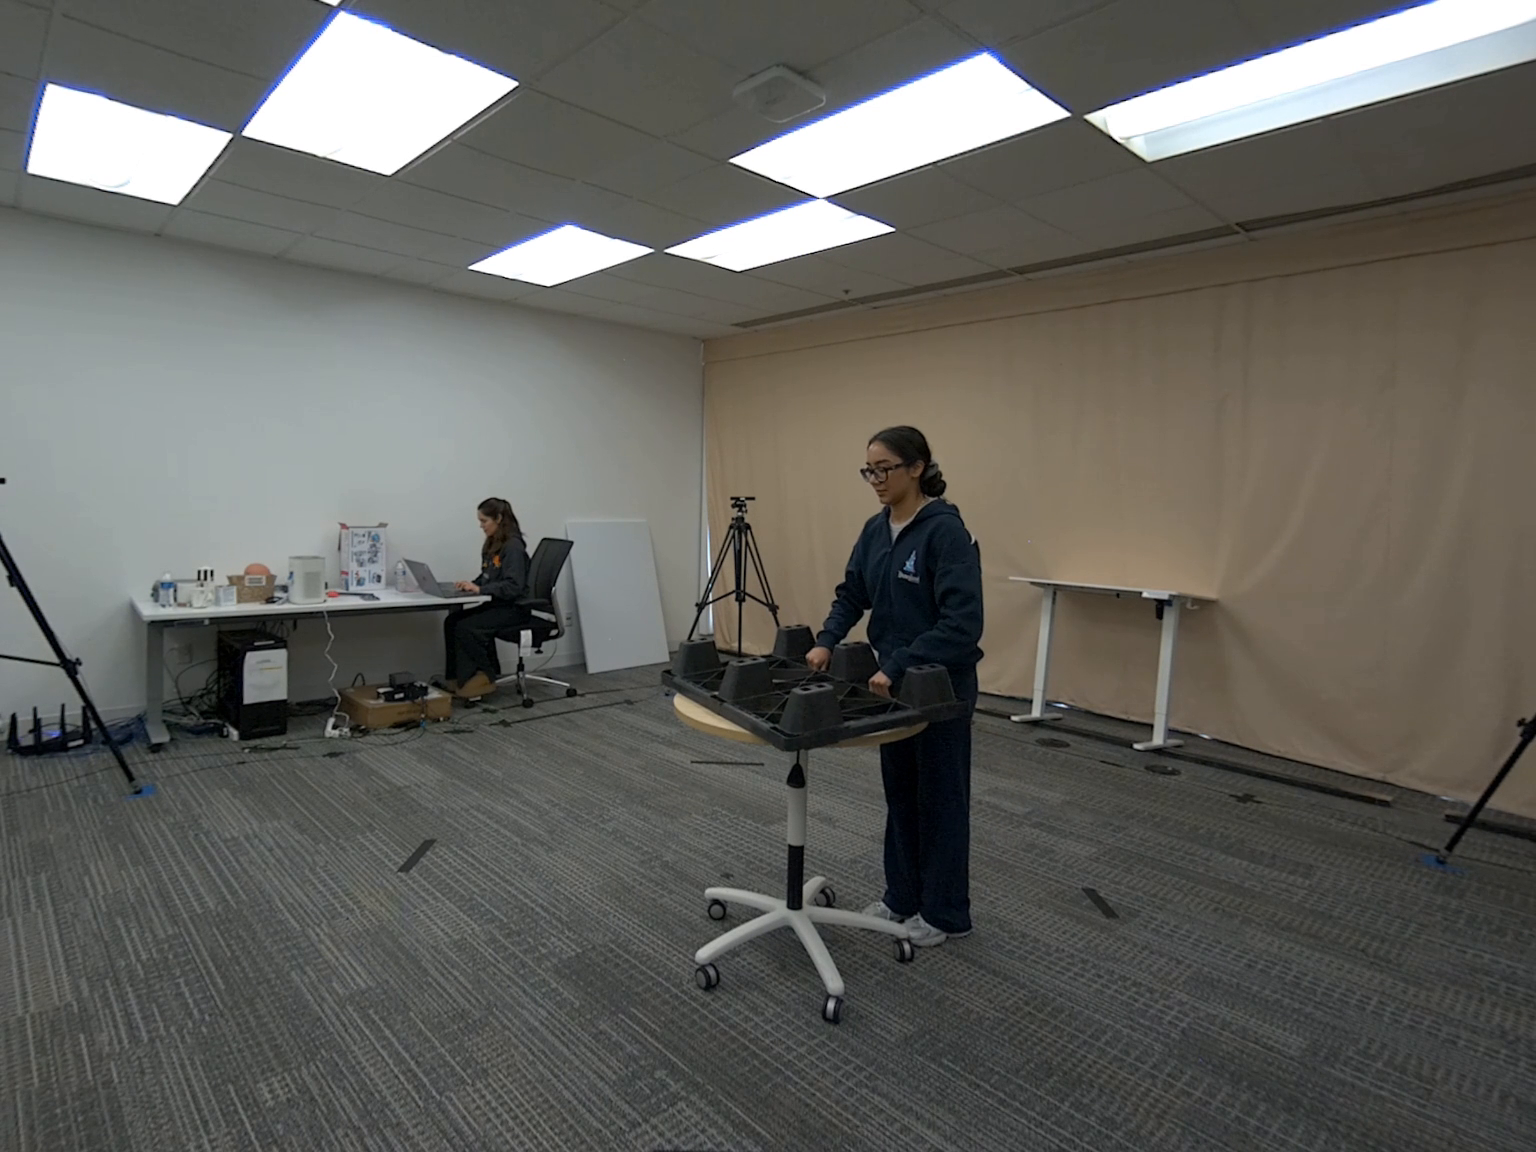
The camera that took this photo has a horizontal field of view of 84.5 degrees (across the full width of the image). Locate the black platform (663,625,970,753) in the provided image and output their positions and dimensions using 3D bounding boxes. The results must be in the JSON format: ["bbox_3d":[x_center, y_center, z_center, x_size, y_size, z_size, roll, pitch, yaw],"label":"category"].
[{"bbox_3d":[0.087,0.296,2.519,0.594,0.142,0.824,-5,9,-29],"label":"black platform"}]
